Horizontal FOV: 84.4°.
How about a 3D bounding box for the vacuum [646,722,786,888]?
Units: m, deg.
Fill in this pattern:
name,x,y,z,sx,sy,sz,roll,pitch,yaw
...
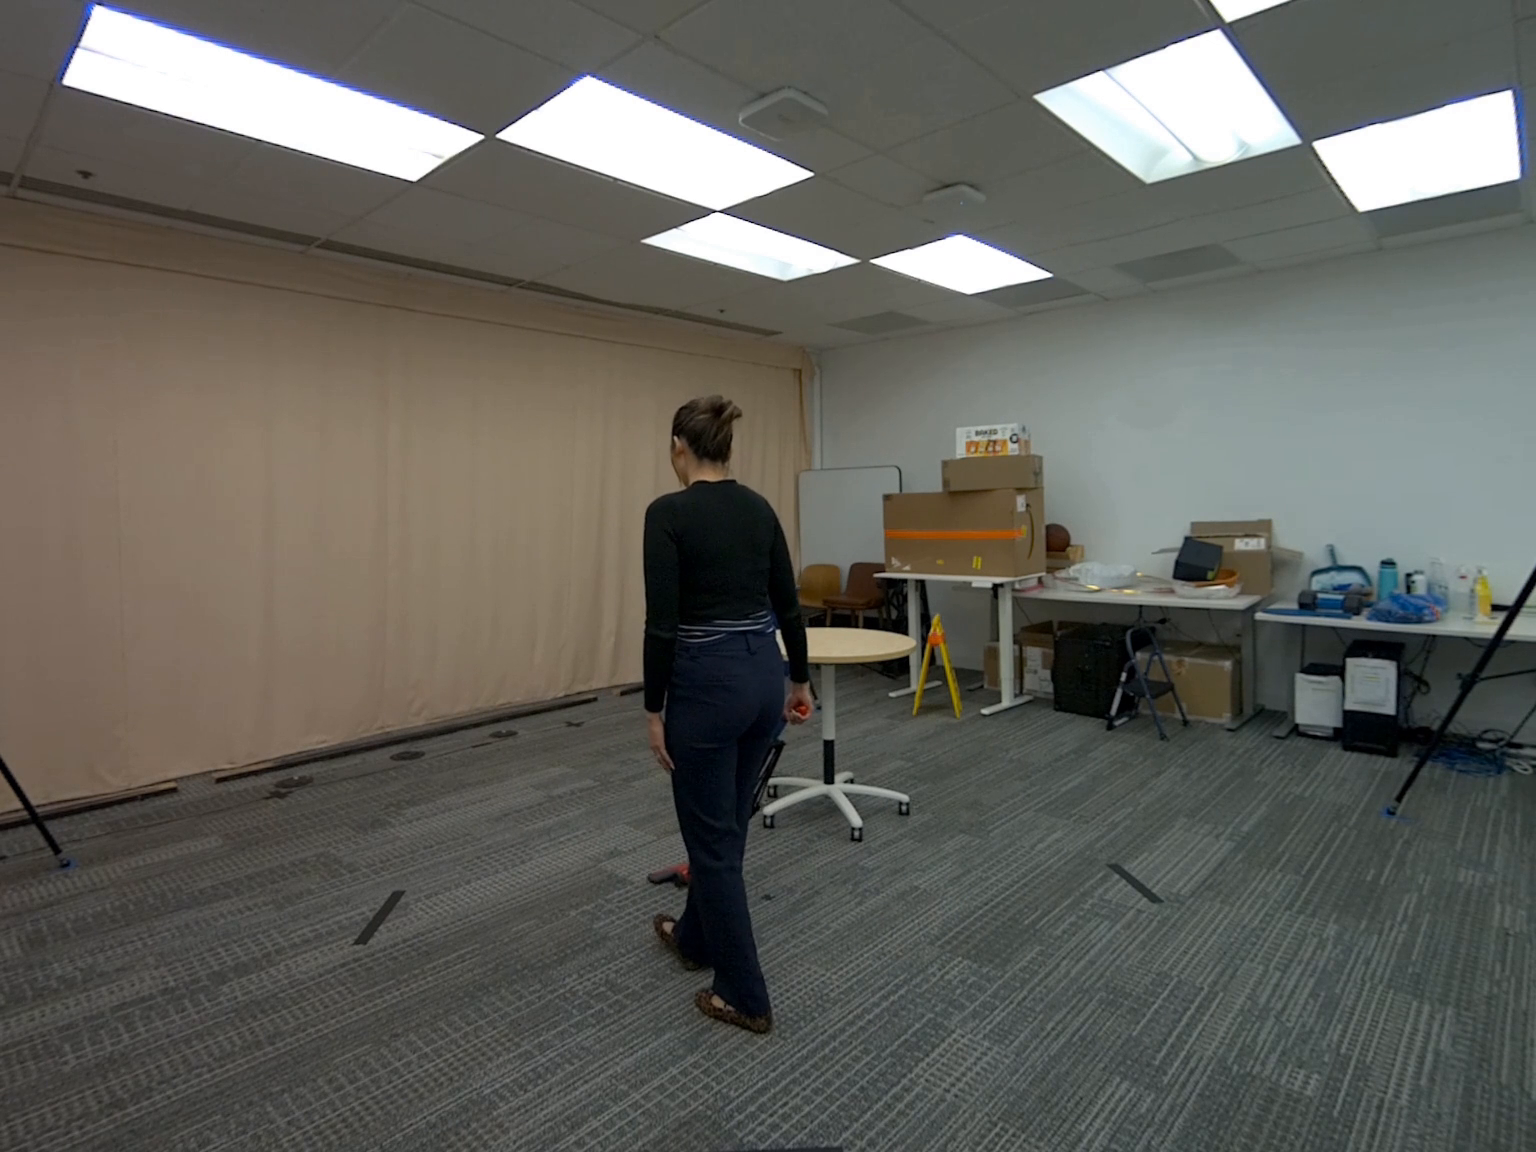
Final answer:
name,x,y,z,sx,sy,sz,roll,pitch,yaw
vacuum,-0.119,0.780,2.845,0.245,0.148,1.049,-4,-39,-36
